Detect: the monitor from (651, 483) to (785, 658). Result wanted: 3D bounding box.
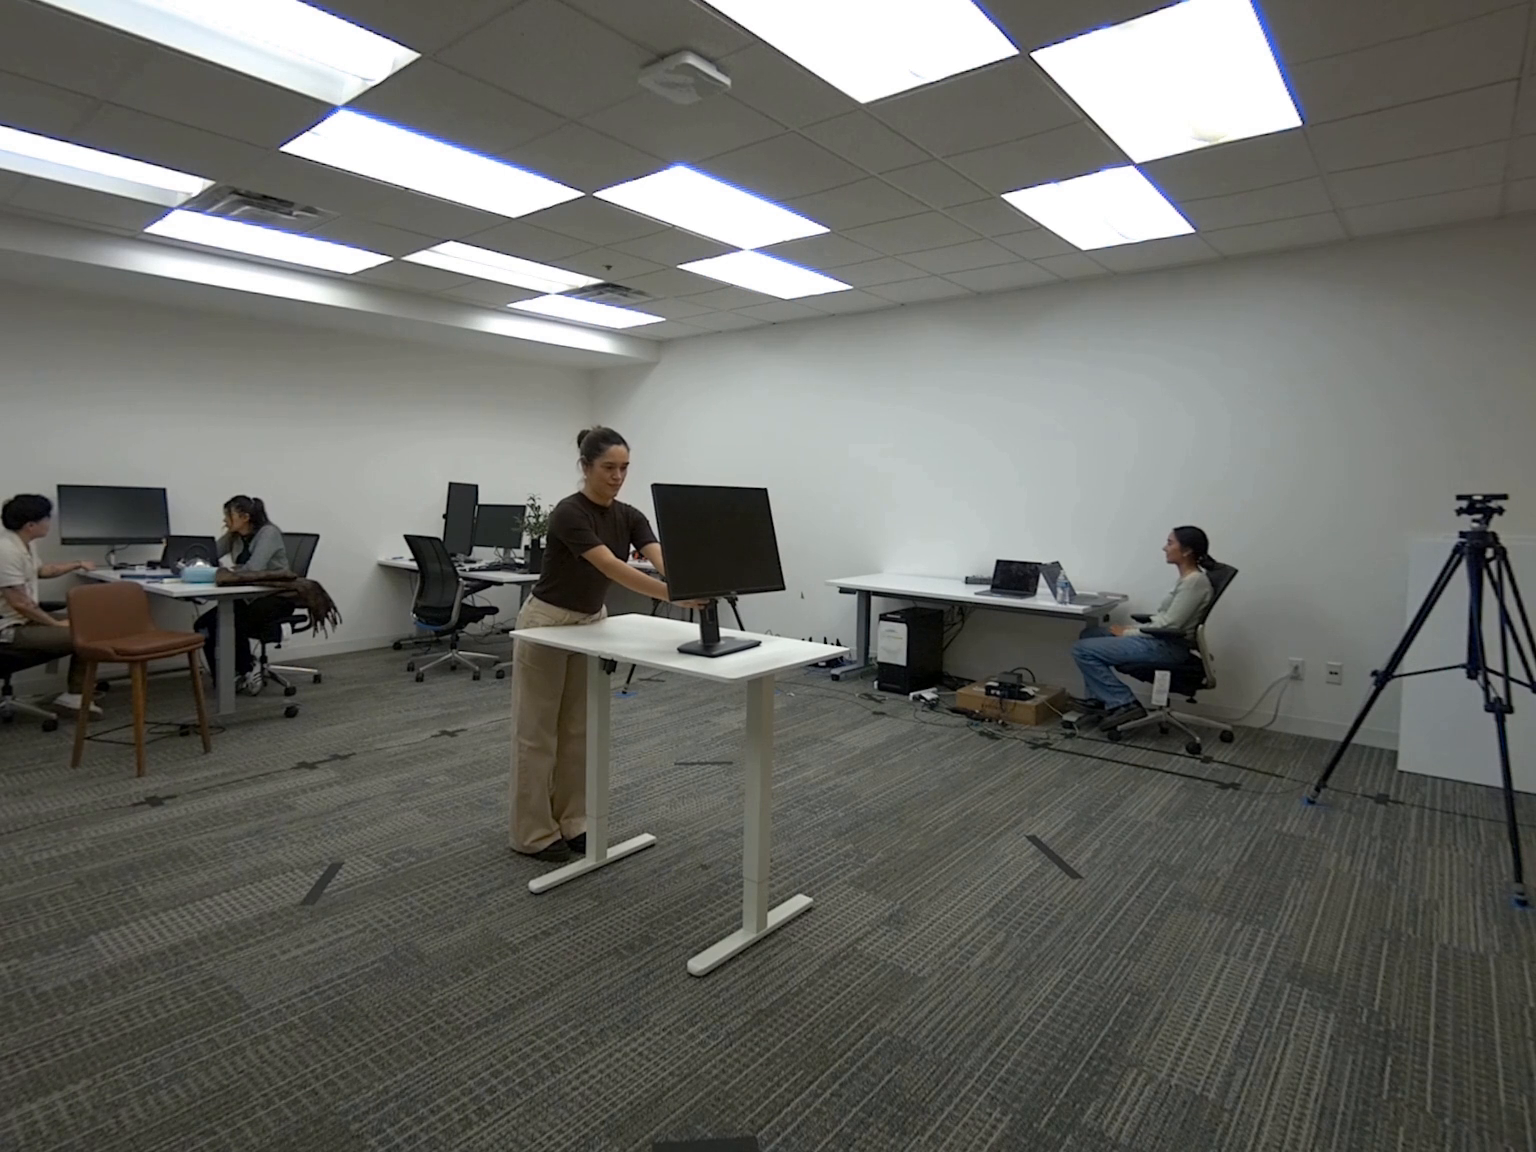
[{"bbox_3d":[-0.172,-0.024,2.685,0.193,0.522,0.523,0,2,37],"label":"monitor"}]
